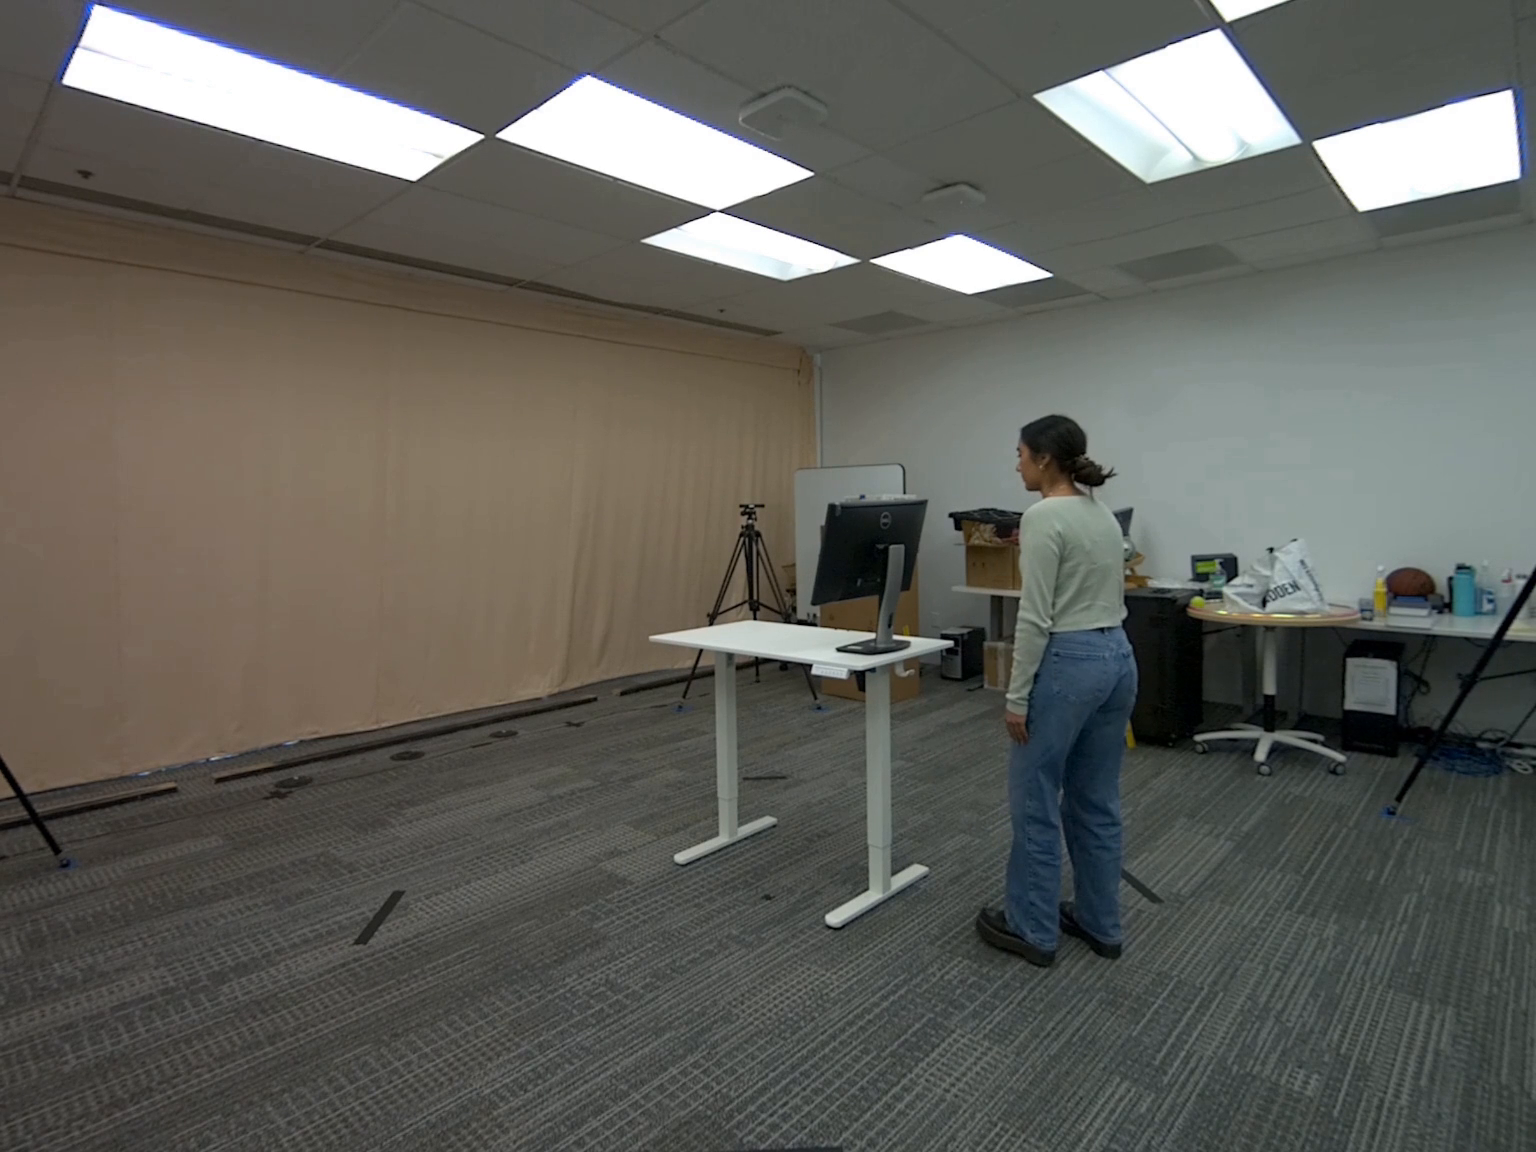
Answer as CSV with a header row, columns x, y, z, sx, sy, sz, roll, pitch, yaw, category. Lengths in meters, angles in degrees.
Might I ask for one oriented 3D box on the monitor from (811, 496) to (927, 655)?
x,y,z,sx,sy,sz,roll,pitch,yaw,category
0.394,0.002,2.914,0.193,0.521,0.523,4,7,44,monitor
